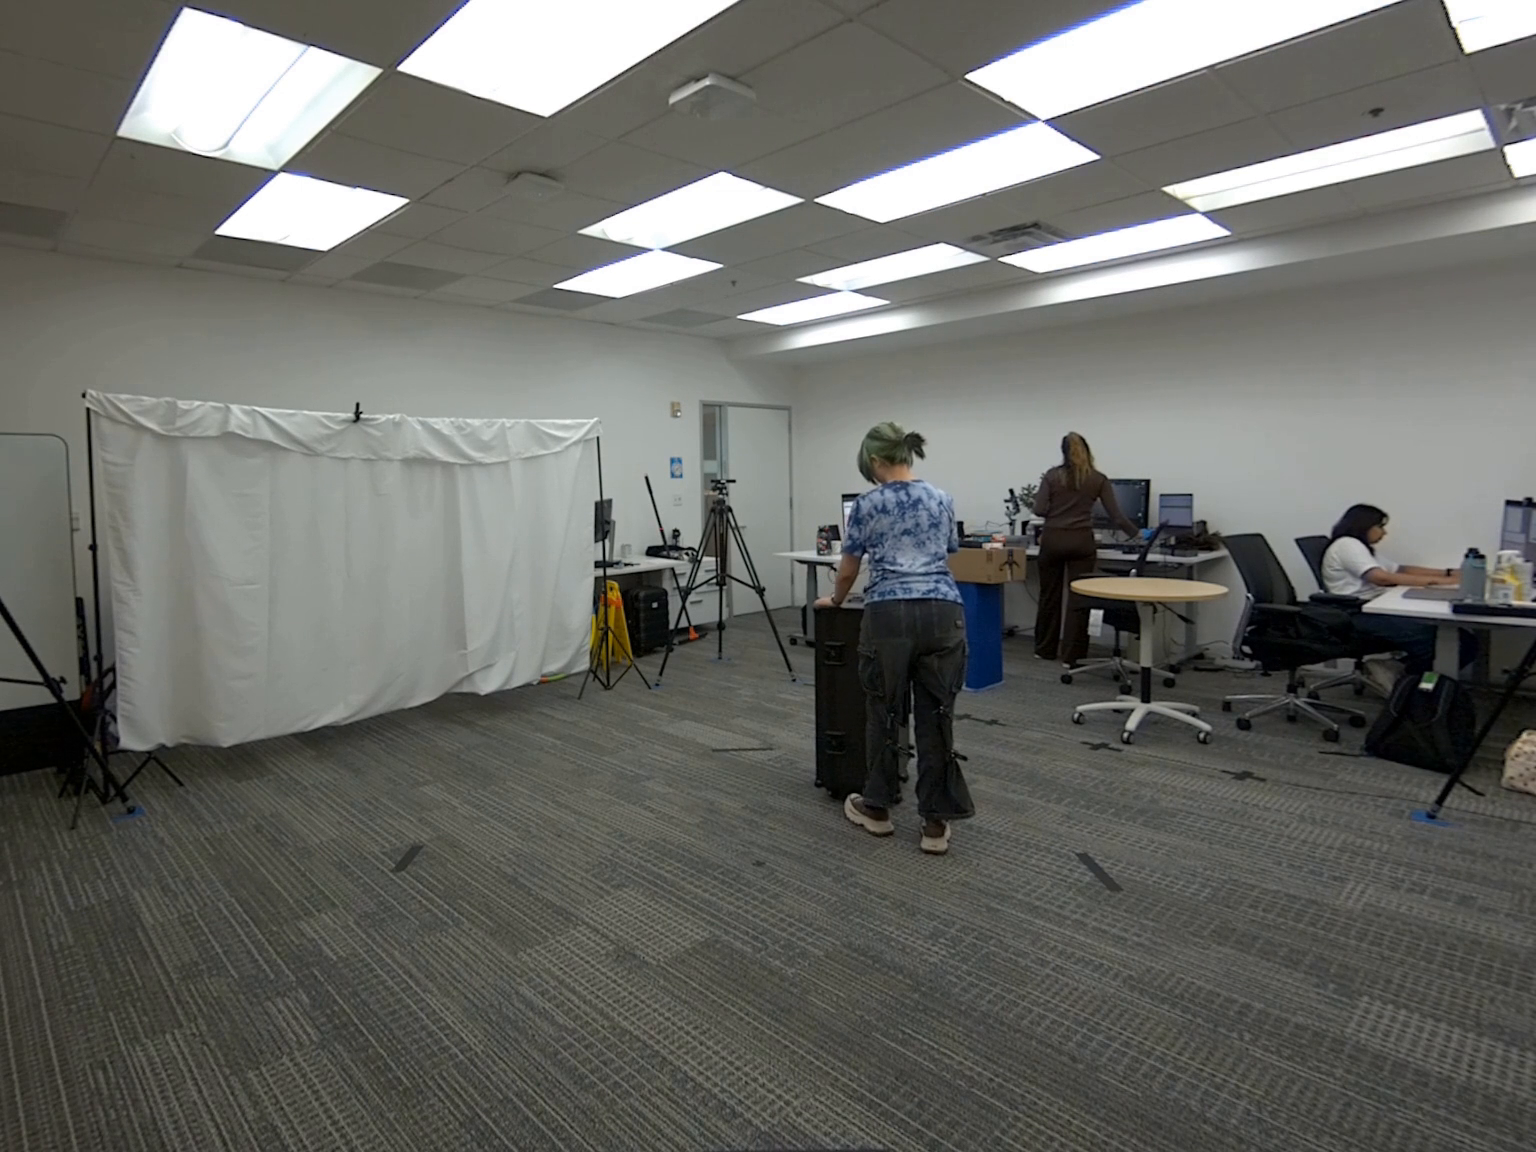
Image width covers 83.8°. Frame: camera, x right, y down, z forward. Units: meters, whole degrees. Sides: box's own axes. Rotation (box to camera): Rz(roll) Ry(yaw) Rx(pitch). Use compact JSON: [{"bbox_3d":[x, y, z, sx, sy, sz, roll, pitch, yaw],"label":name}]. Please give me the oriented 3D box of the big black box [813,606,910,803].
[{"bbox_3d":[0.447,0.532,3.835,0.404,0.858,0.513,1,4,19],"label":"big black box"}]
